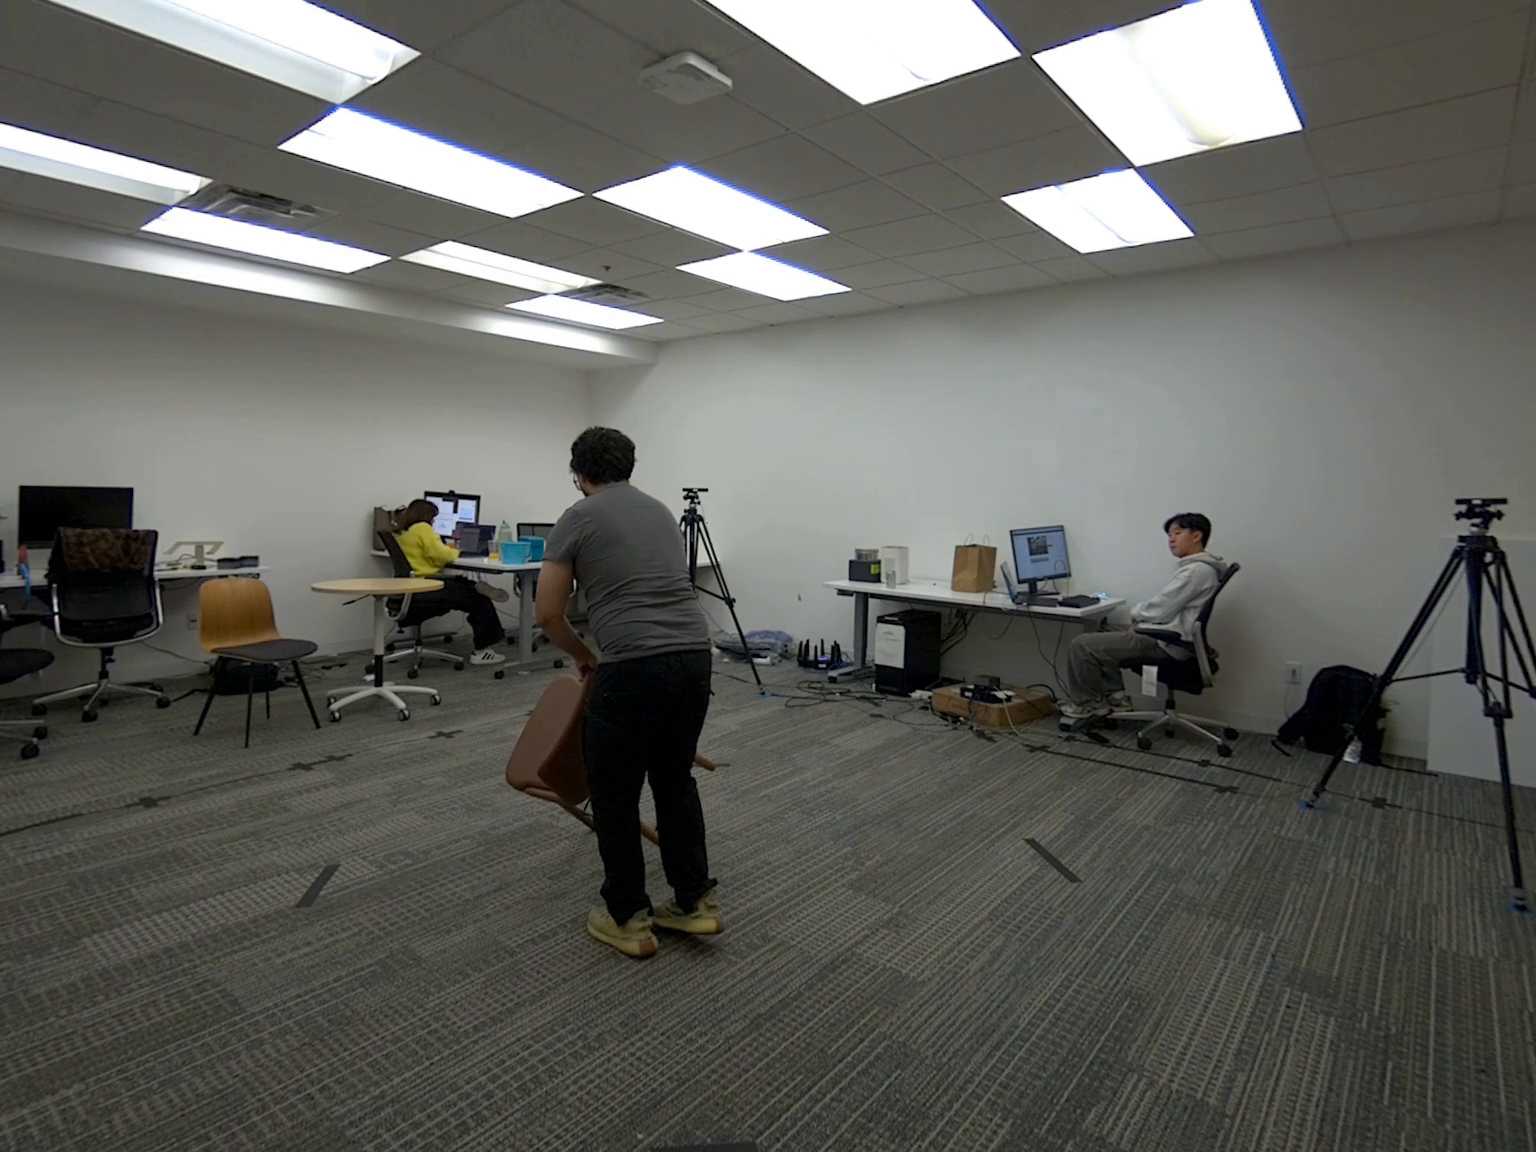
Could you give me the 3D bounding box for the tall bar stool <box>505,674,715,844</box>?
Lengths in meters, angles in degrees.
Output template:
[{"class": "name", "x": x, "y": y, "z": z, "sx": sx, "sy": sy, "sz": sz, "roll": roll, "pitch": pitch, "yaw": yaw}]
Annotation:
[{"class": "tall bar stool", "x": -0.645, "y": 0.653, "z": 3.115, "sx": 0.483, "sy": 0.461, "sz": 0.853, "roll": 8, "pitch": -30, "yaw": 33}]
